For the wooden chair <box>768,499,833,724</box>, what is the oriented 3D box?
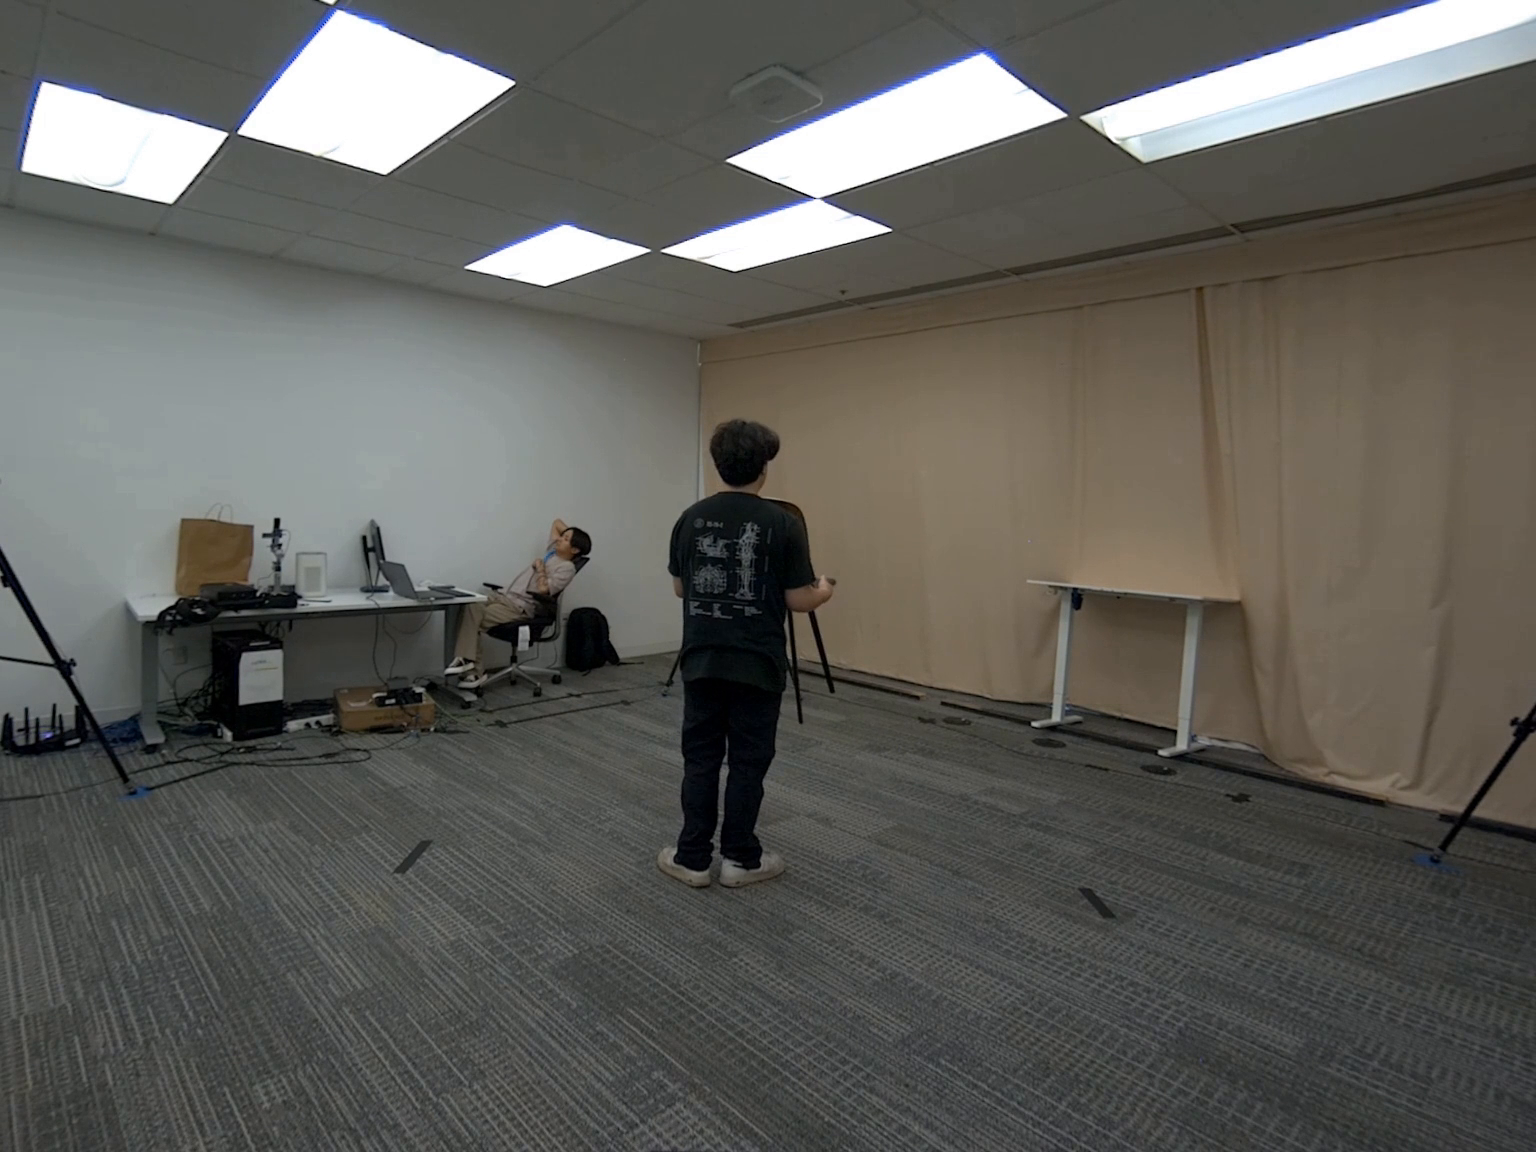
[{"bbox_3d":[0.022,0.089,3.382,0.486,0.870,0.518,4,12,22],"label":"wooden chair"}]
